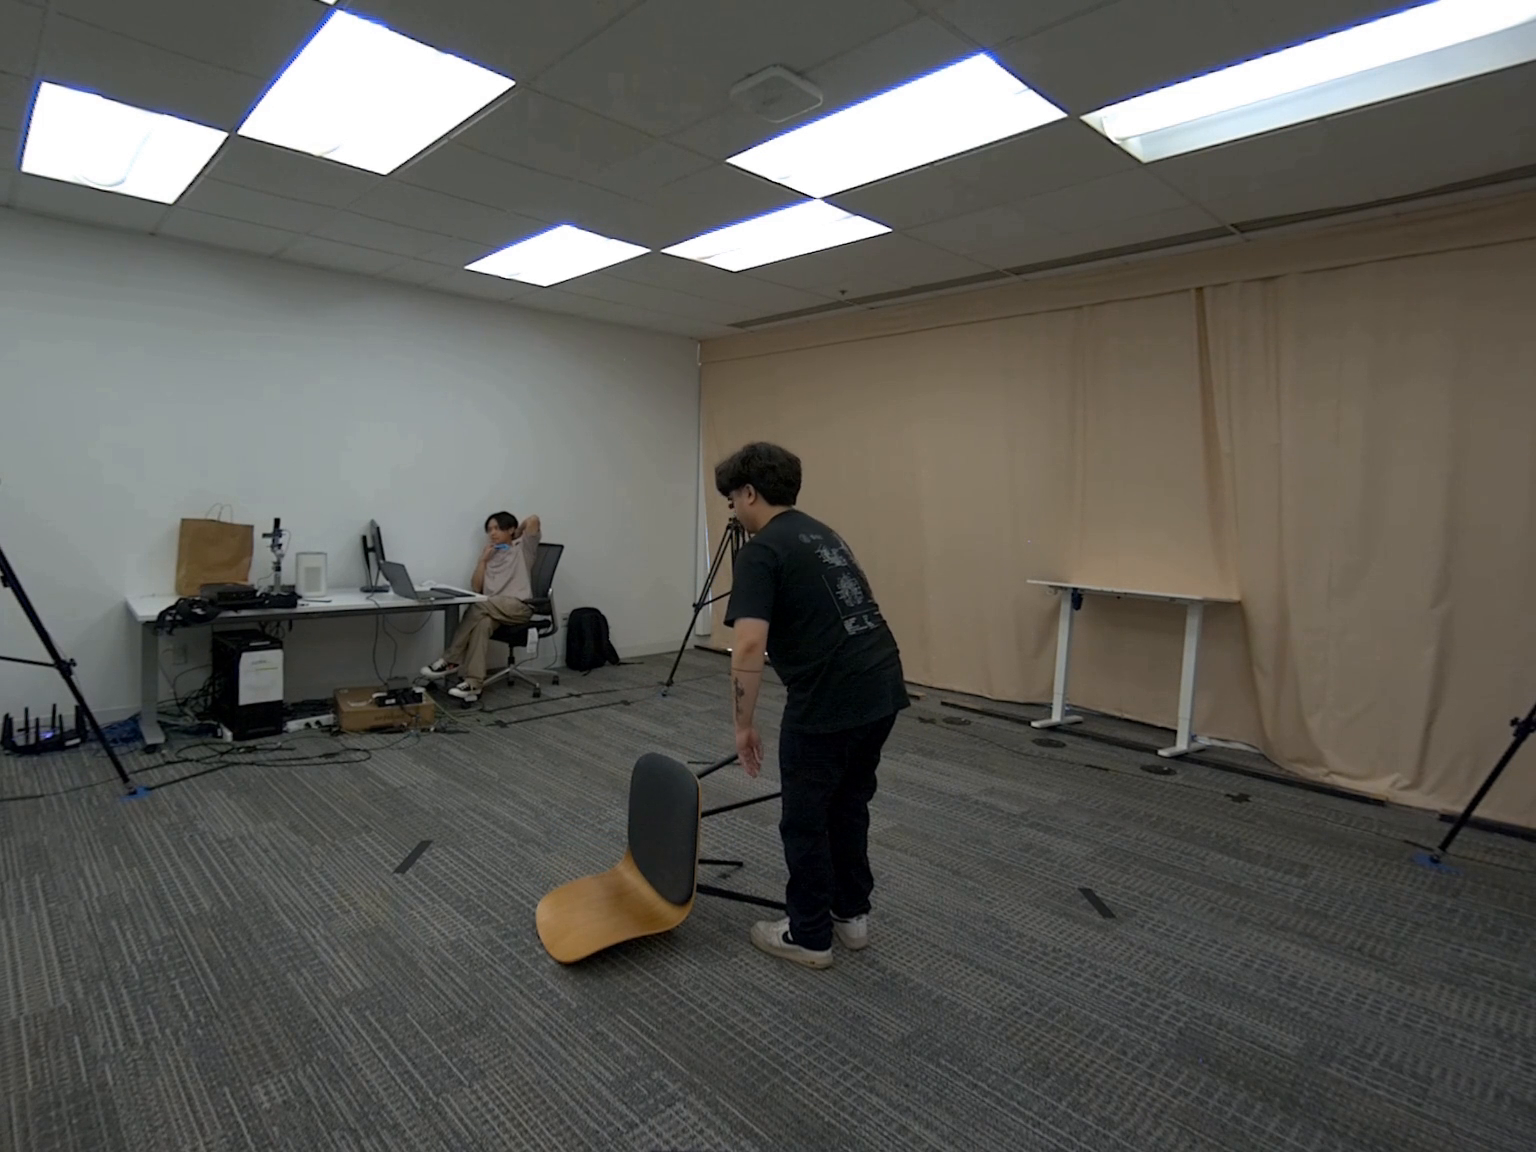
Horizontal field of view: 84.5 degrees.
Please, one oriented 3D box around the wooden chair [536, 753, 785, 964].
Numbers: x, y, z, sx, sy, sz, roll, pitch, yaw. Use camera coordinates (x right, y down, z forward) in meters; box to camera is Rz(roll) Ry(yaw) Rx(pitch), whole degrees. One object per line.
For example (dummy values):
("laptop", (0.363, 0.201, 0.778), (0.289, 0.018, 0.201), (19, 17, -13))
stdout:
("wooden chair", (-0.316, 0.879, 2.783), (0.859, 0.521, 0.489), (-3, 6, -32))
